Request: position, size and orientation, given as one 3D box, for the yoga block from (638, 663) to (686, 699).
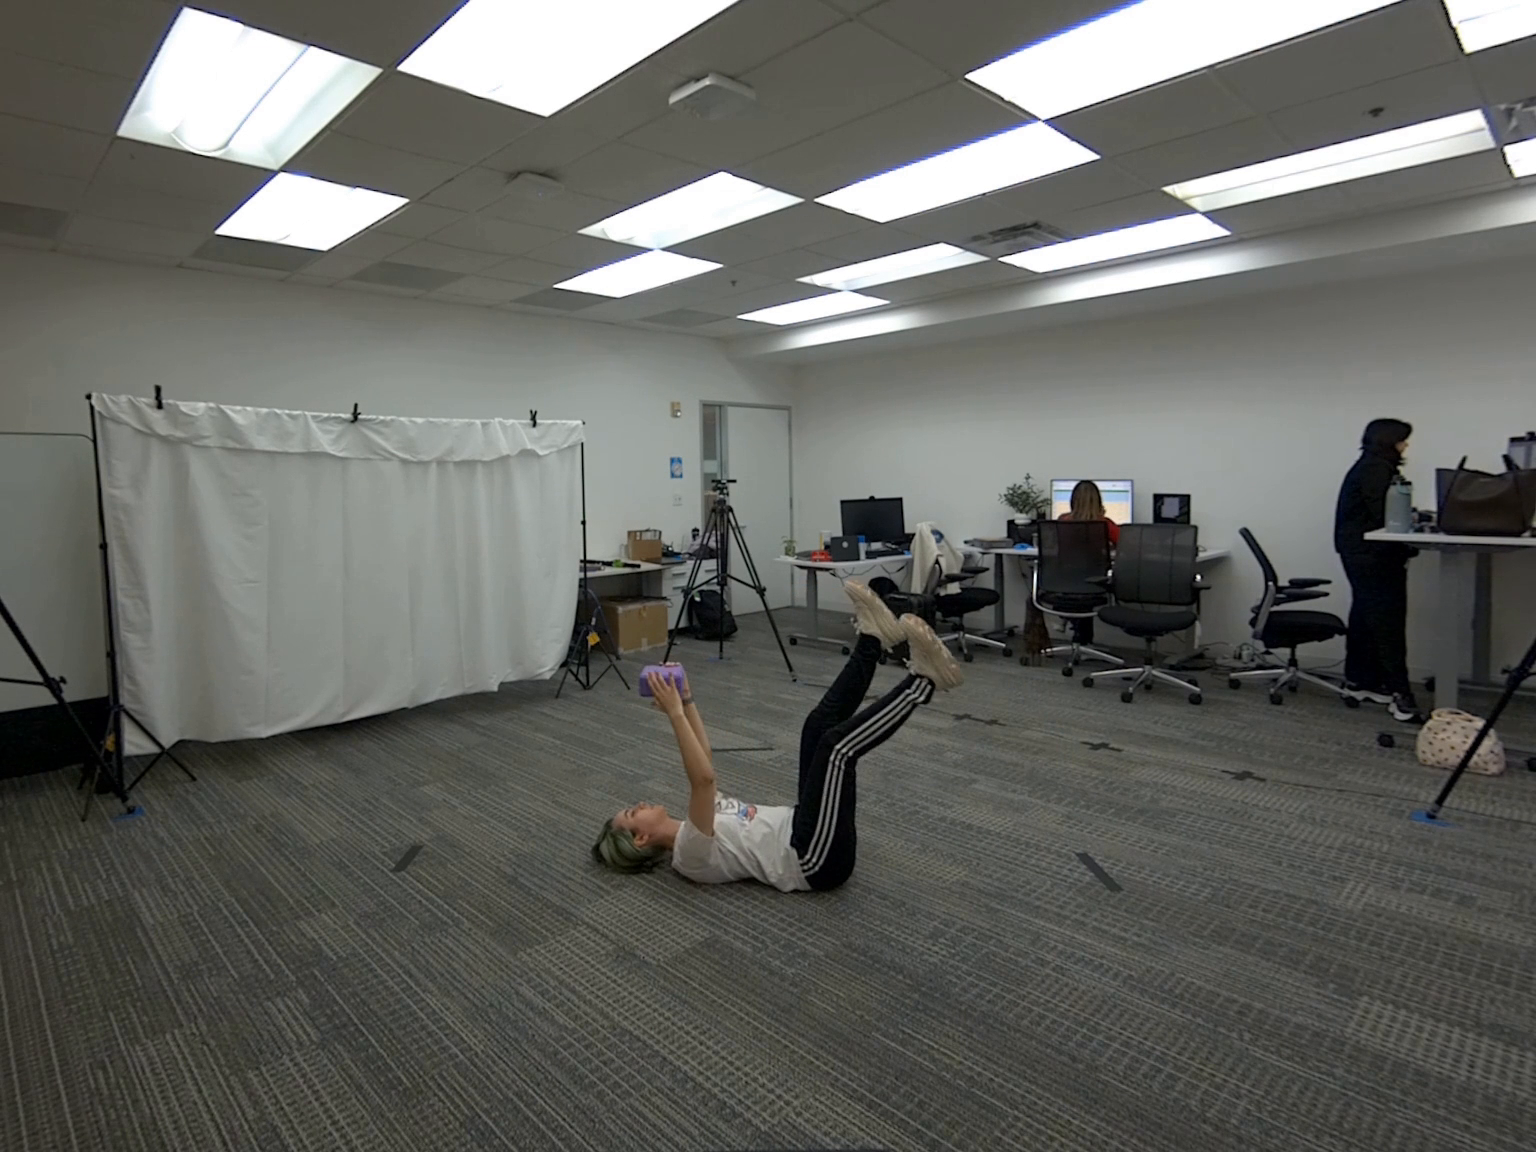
[{"bbox_3d":[-0.383,0.382,3.103,0.149,0.076,0.230,-1,4,-2],"label":"yoga block"}]
